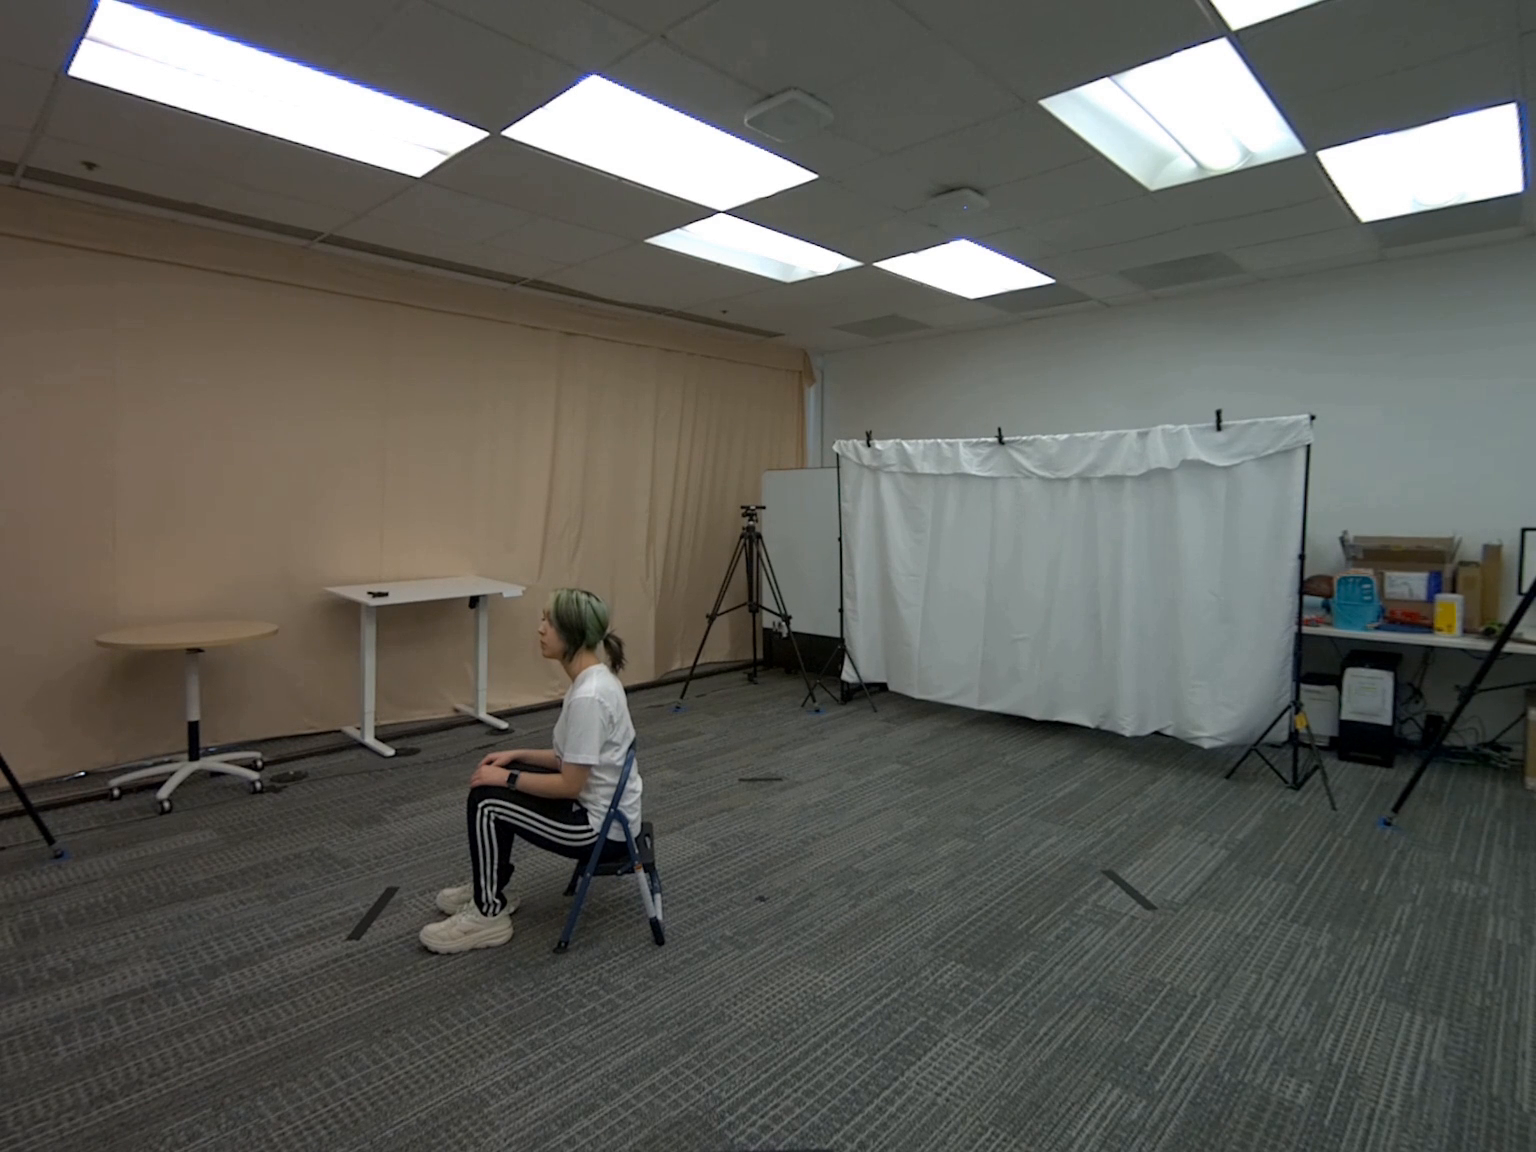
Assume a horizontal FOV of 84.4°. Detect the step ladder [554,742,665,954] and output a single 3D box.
[{"bbox_3d":[-0.530,0.866,2.833,0.346,0.605,0.435,-2,3,-8],"label":"step ladder"}]
